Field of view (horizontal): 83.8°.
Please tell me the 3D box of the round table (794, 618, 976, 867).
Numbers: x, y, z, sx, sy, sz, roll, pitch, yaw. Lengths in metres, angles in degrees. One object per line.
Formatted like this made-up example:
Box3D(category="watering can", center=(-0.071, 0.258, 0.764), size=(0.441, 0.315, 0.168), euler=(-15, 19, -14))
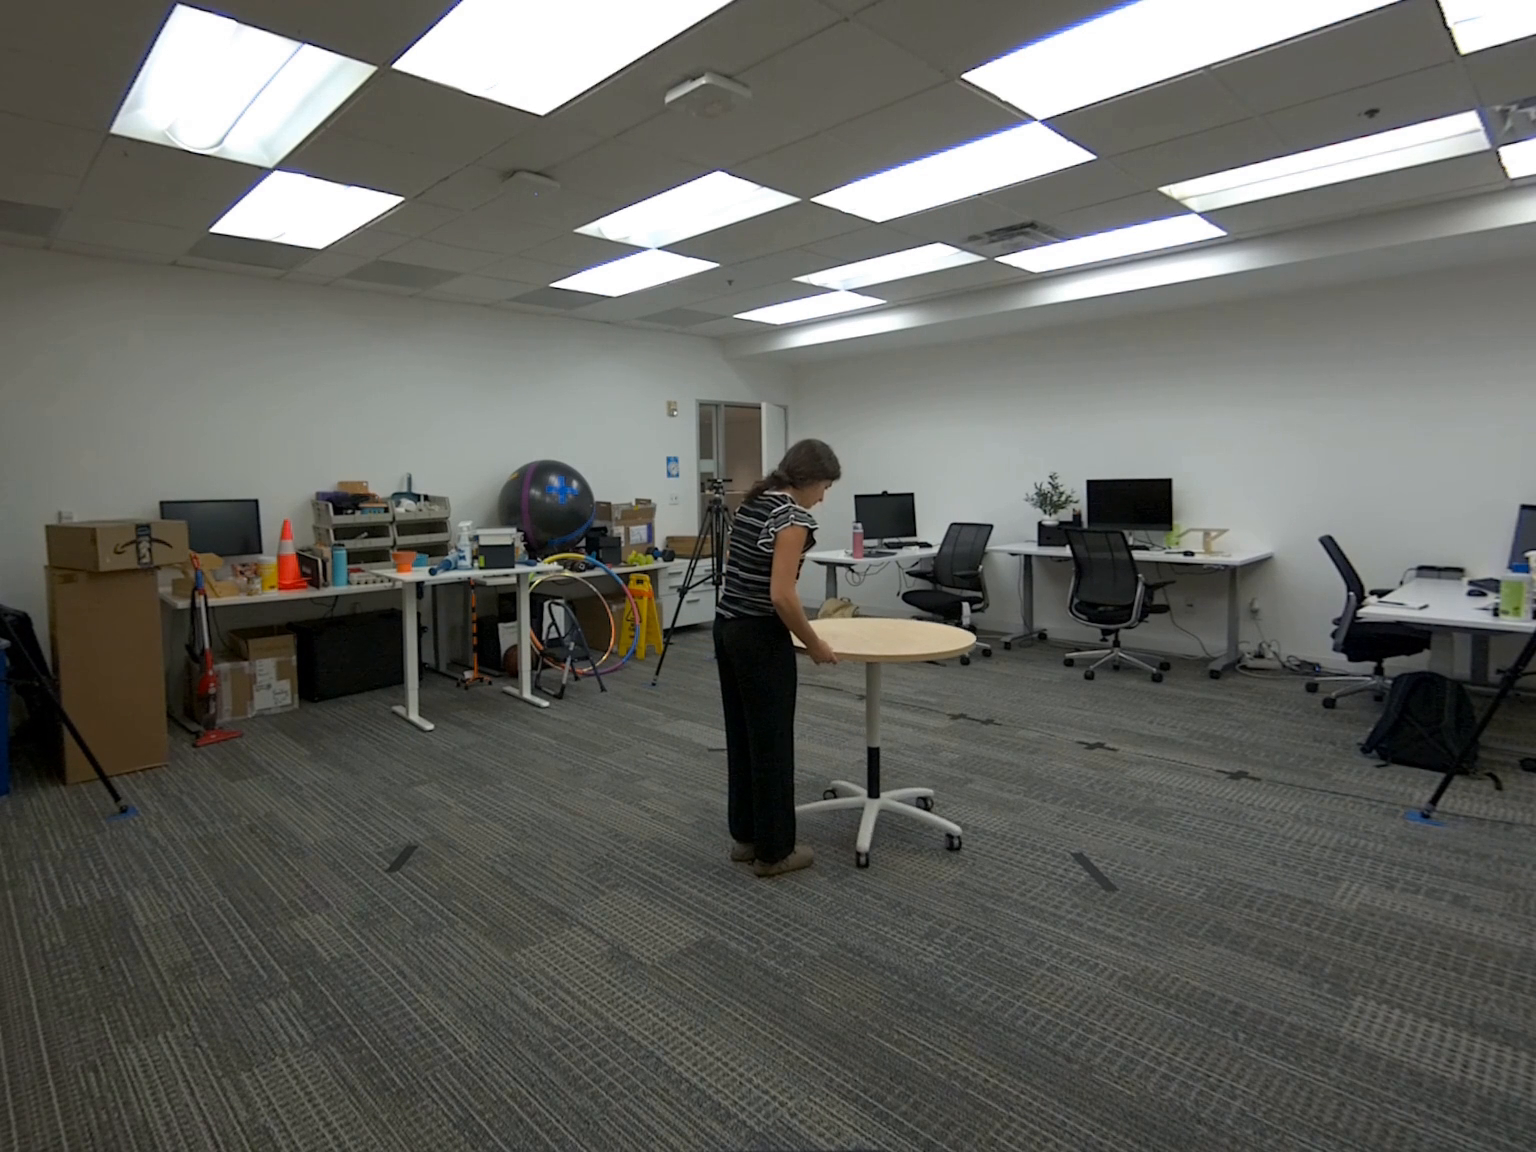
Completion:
Box3D(category="round table", center=(0.401, 0.617, 3.336), size=(0.784, 0.783, 0.789), euler=(-1, 5, -2))
